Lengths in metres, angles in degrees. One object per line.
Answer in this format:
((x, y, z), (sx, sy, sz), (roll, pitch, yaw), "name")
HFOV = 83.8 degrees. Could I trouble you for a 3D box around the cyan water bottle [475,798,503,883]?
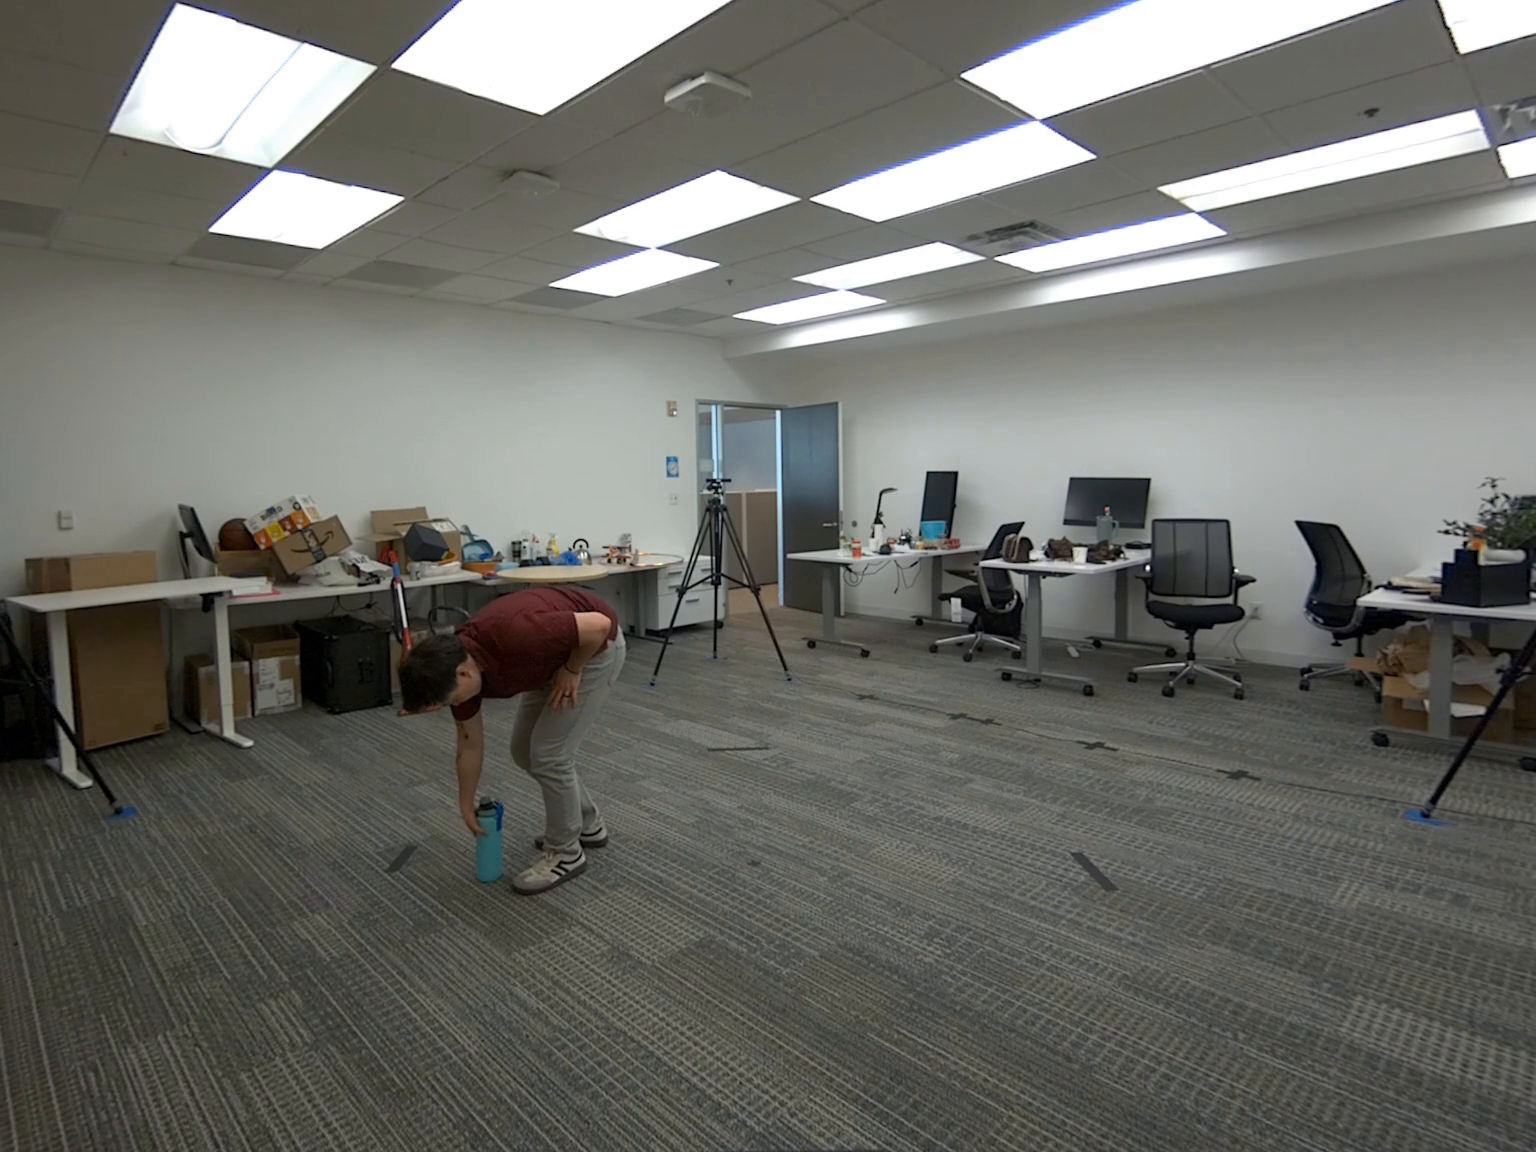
((-0.987, 0.934, 3.035), (0.092, 0.282, 0.093), (2, 3, -2), "cyan water bottle")
